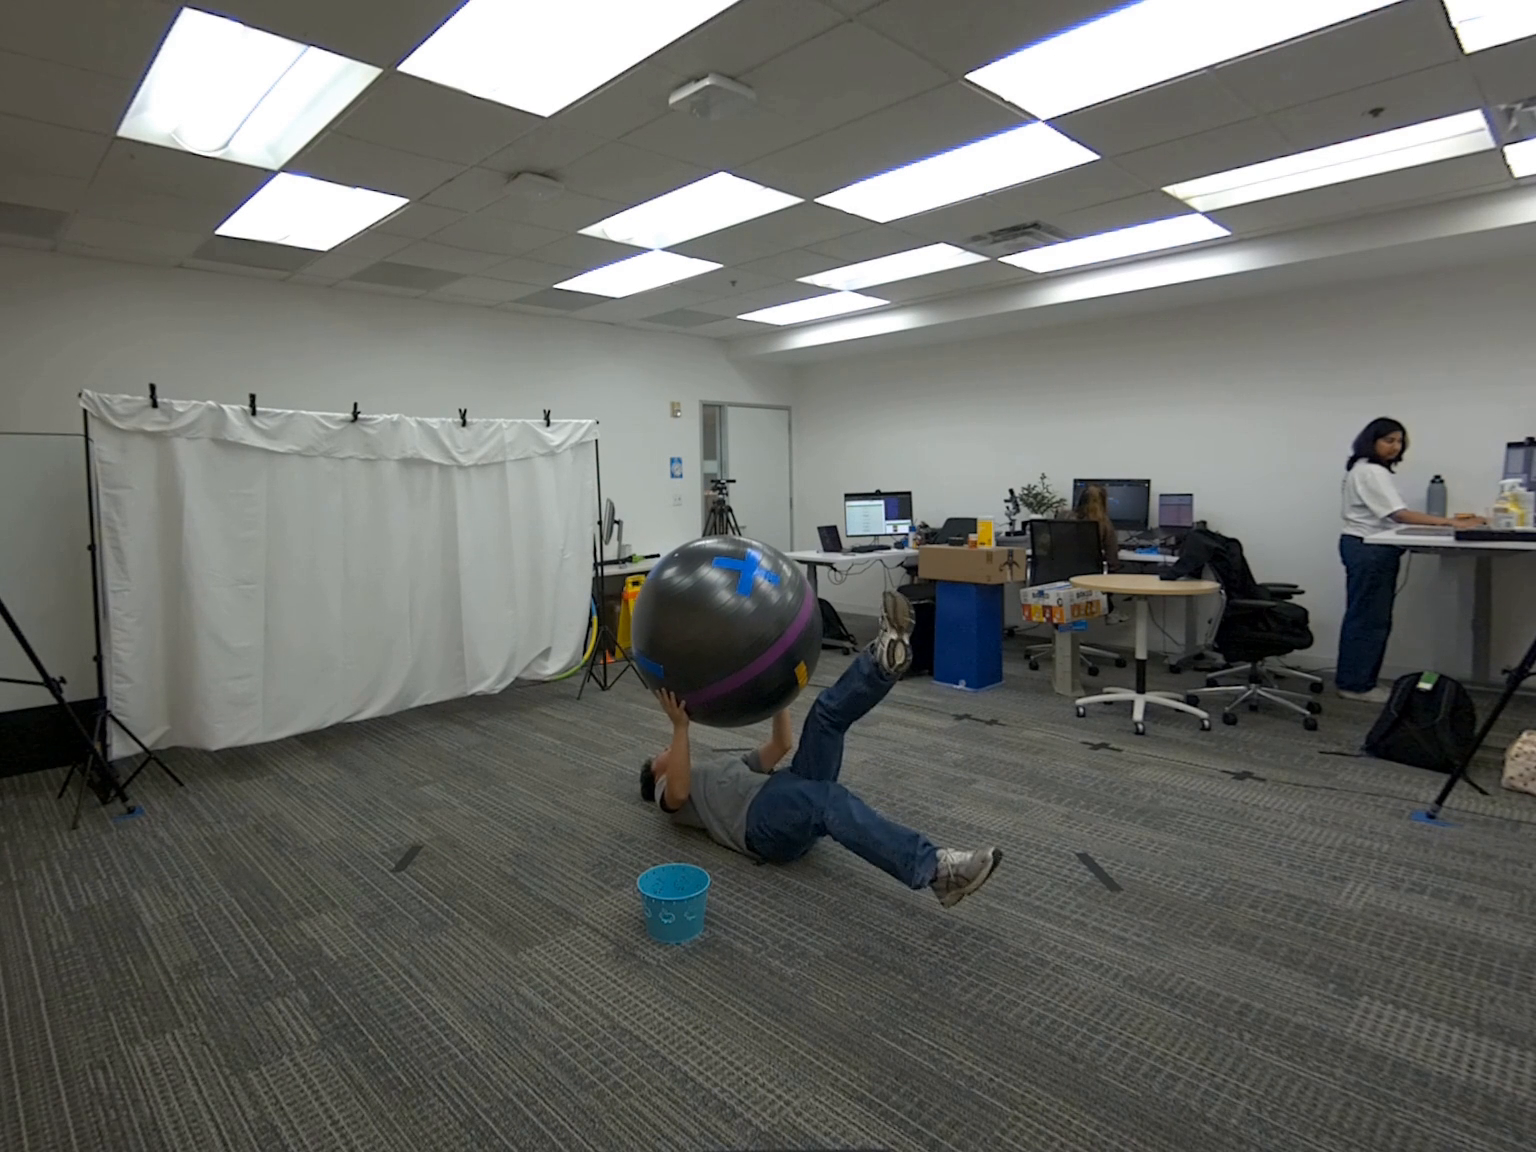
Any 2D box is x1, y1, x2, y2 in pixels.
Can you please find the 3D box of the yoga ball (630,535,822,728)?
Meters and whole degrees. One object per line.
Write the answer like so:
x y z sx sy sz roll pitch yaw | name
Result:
-0.173 0.222 3.387 0.757 0.755 0.762 -1 5 -2 | yoga ball
